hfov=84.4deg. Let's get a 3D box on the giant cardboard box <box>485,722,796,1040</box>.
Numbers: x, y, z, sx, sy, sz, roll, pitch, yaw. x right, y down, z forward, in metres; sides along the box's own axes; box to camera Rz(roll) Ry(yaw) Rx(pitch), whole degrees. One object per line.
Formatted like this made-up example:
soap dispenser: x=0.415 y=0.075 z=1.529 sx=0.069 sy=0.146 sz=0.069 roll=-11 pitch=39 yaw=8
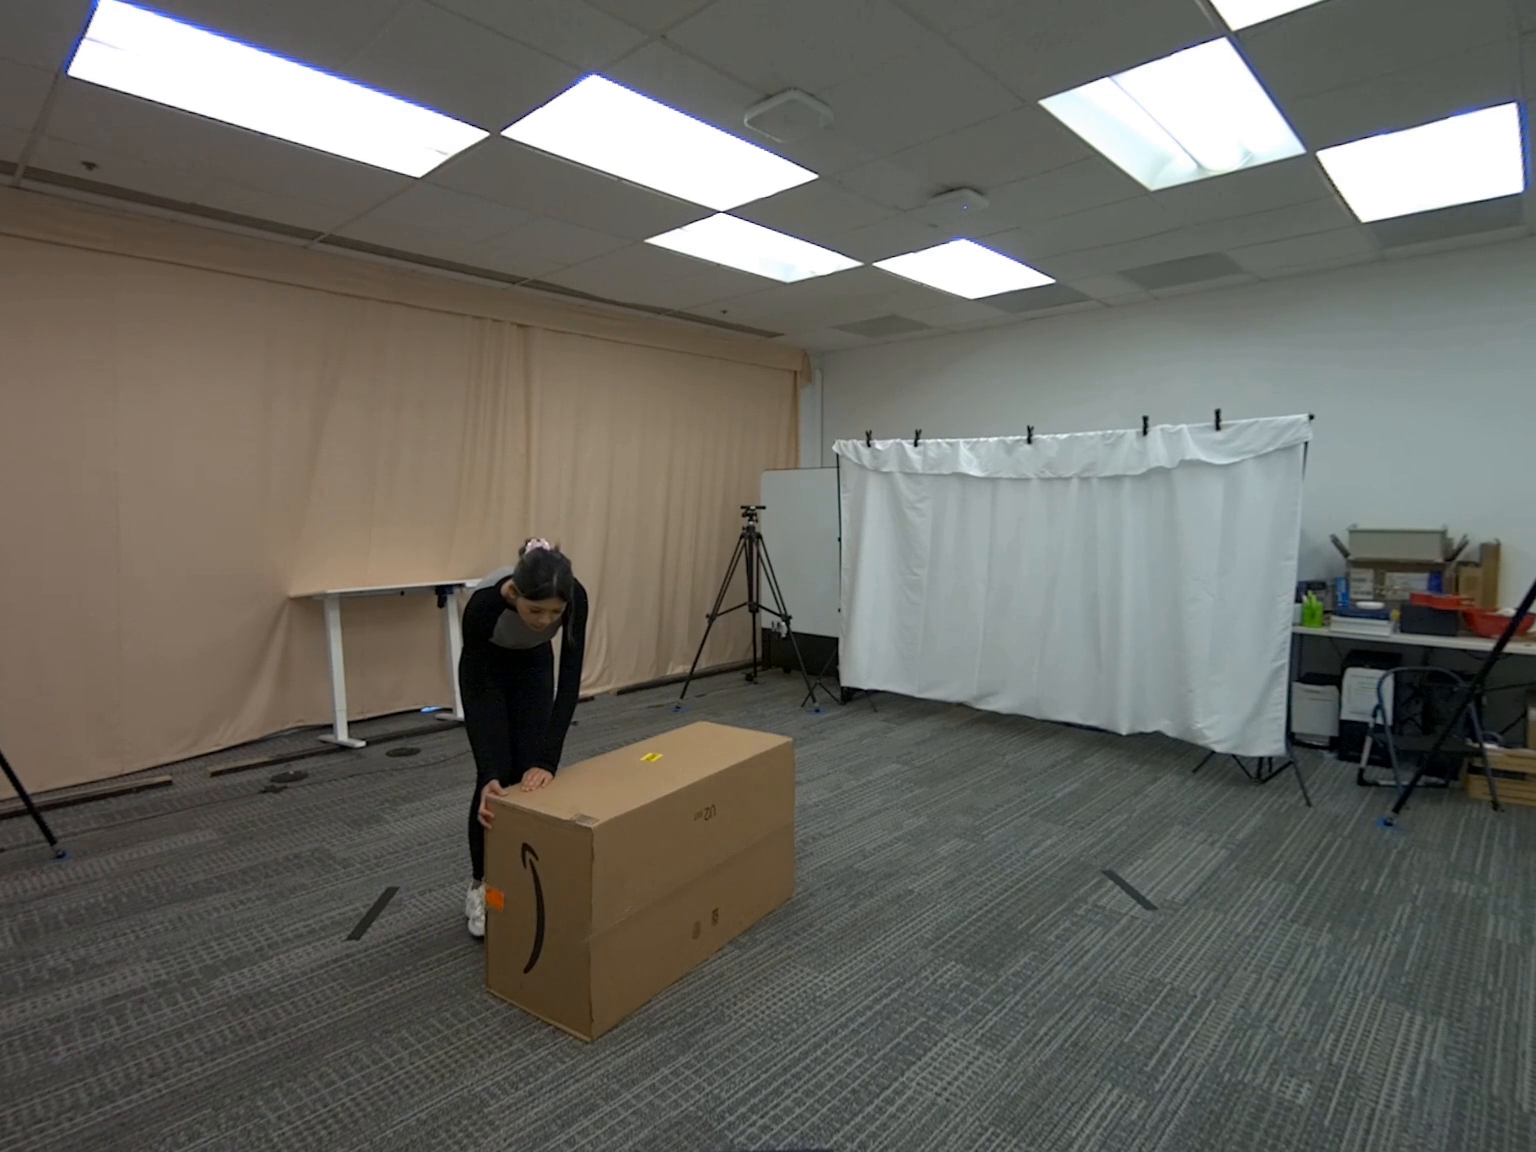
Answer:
giant cardboard box: x=-0.355 y=0.884 z=2.701 sx=0.460 sy=0.583 sz=0.998 roll=1 pitch=4 yaw=33
